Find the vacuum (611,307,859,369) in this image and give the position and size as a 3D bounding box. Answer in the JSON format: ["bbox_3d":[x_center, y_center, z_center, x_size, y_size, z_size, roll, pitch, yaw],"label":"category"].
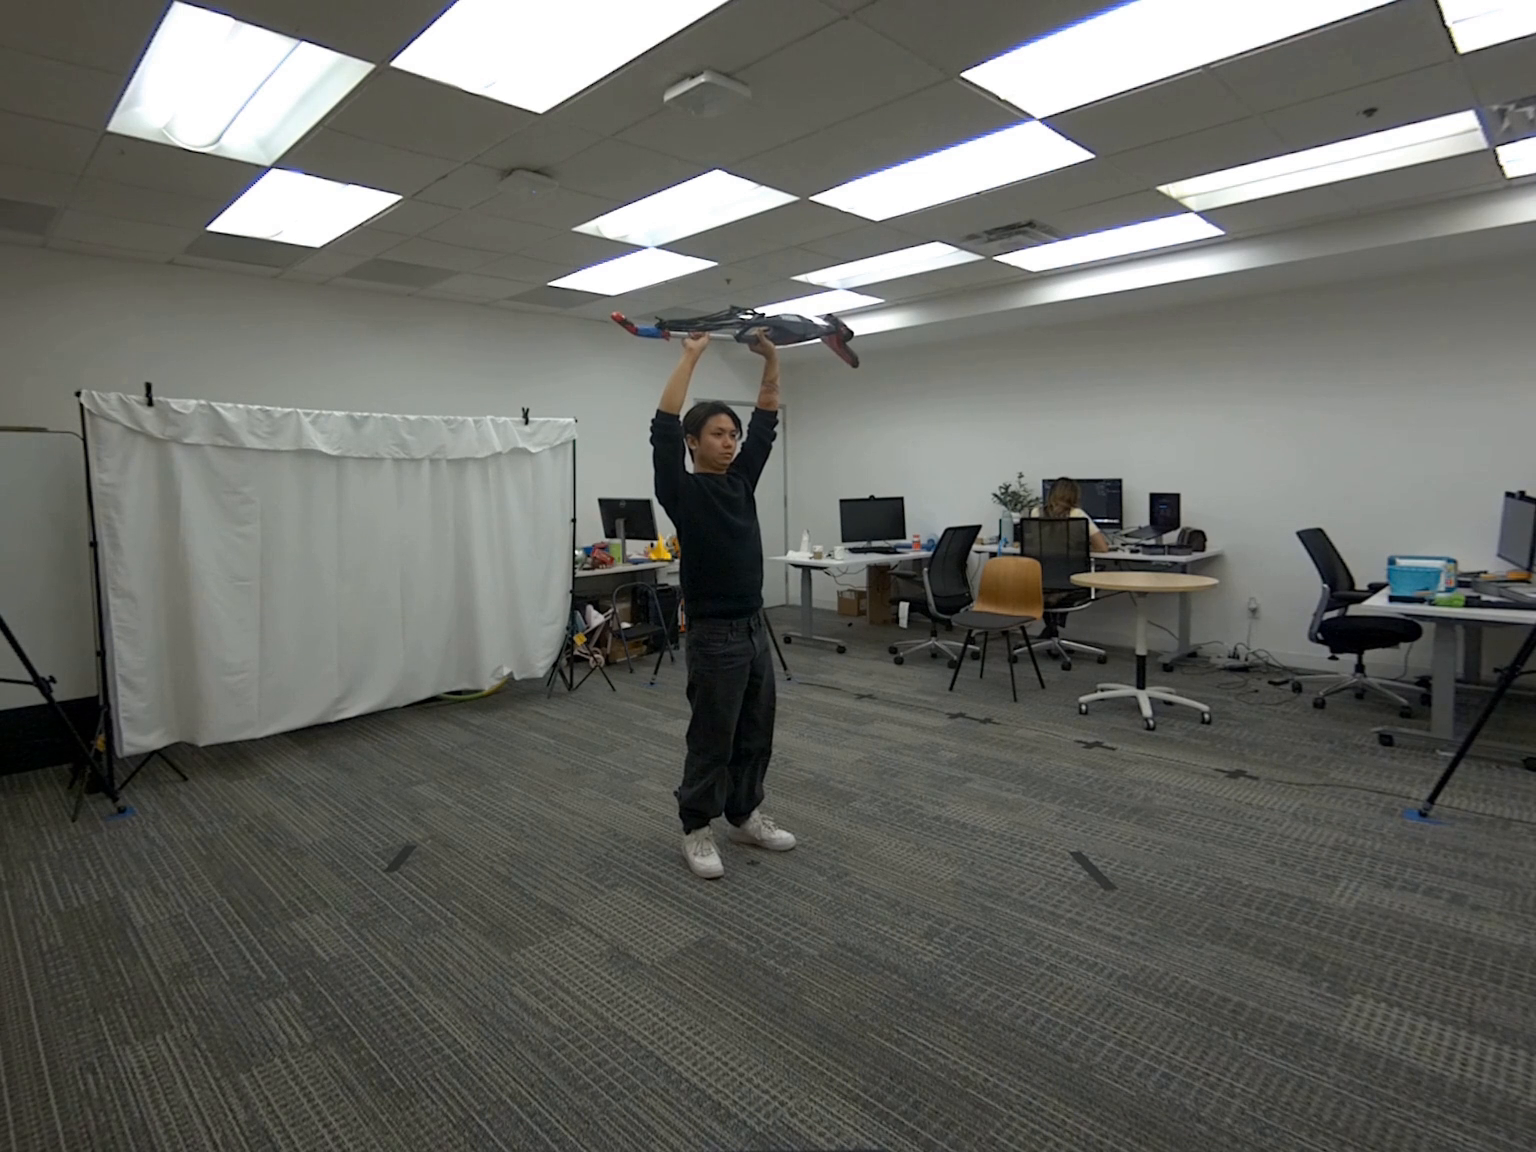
[{"bbox_3d":[-0.092,-0.873,2.990,1.023,0.142,0.262,-8,41,-42],"label":"vacuum"}]
